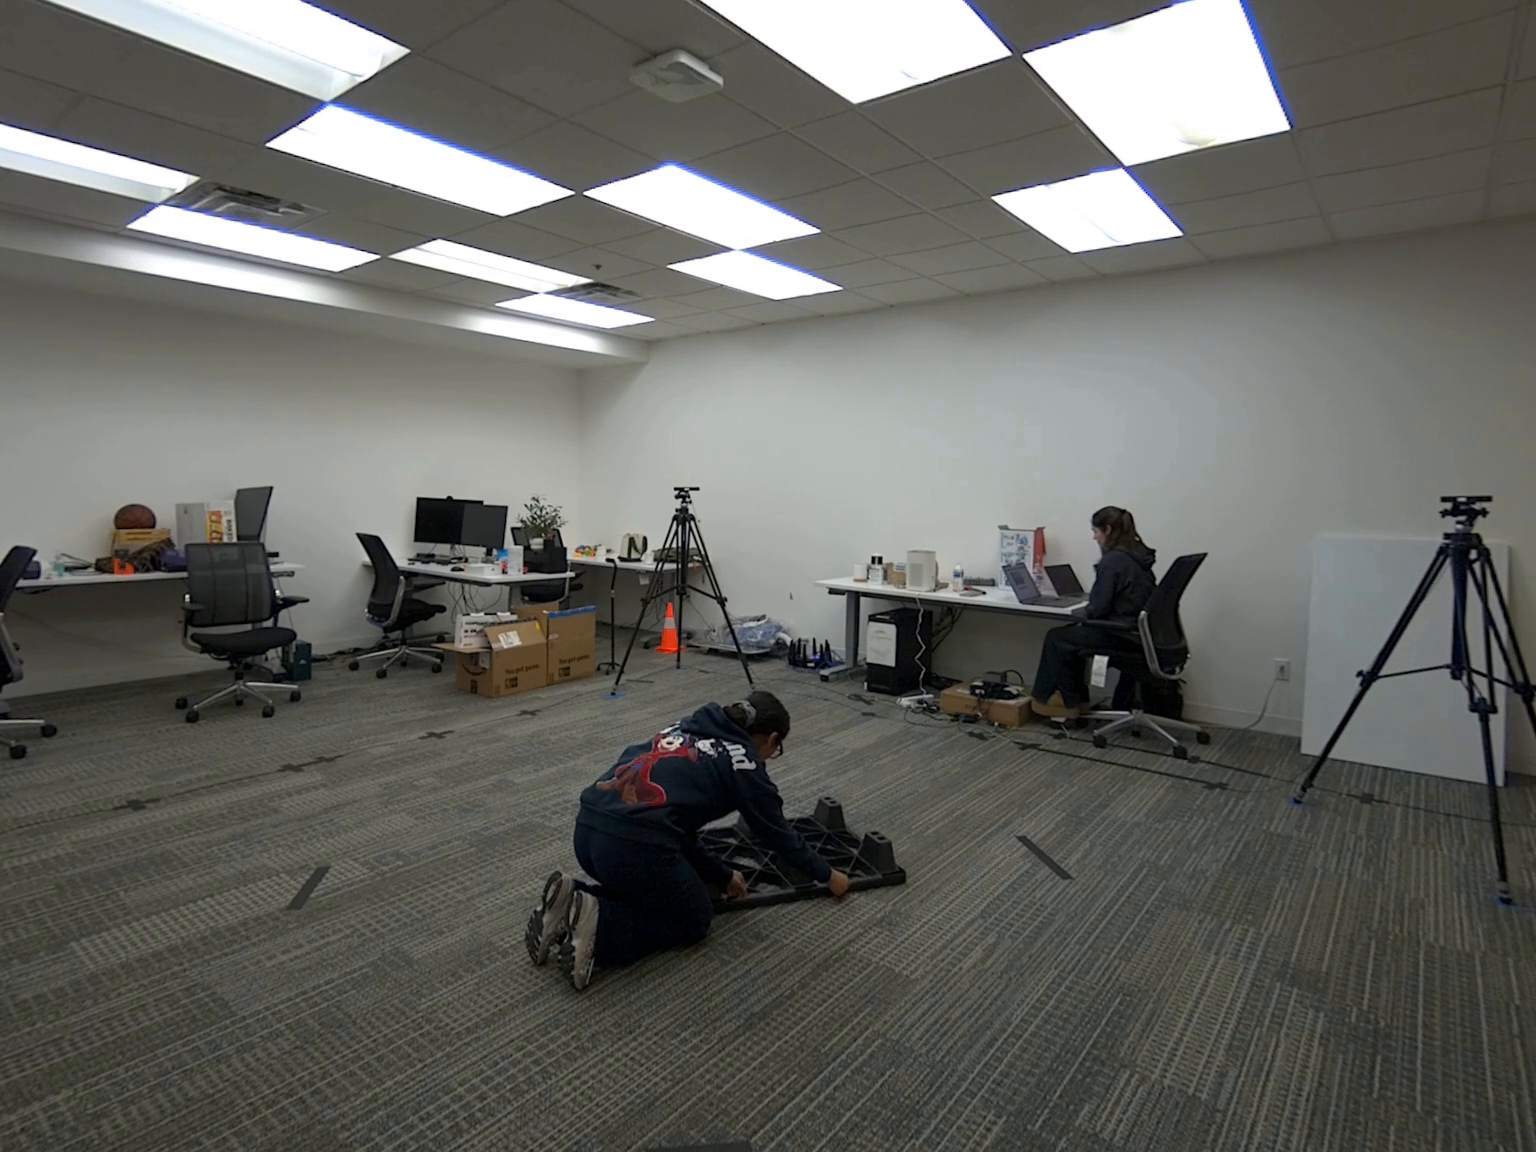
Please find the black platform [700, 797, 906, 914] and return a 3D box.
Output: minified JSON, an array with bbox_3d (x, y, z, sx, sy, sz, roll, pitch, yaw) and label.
[{"bbox_3d":[0.012,0.997,3.154,0.788,0.143,0.621,-1,6,-23],"label":"black platform"}]
